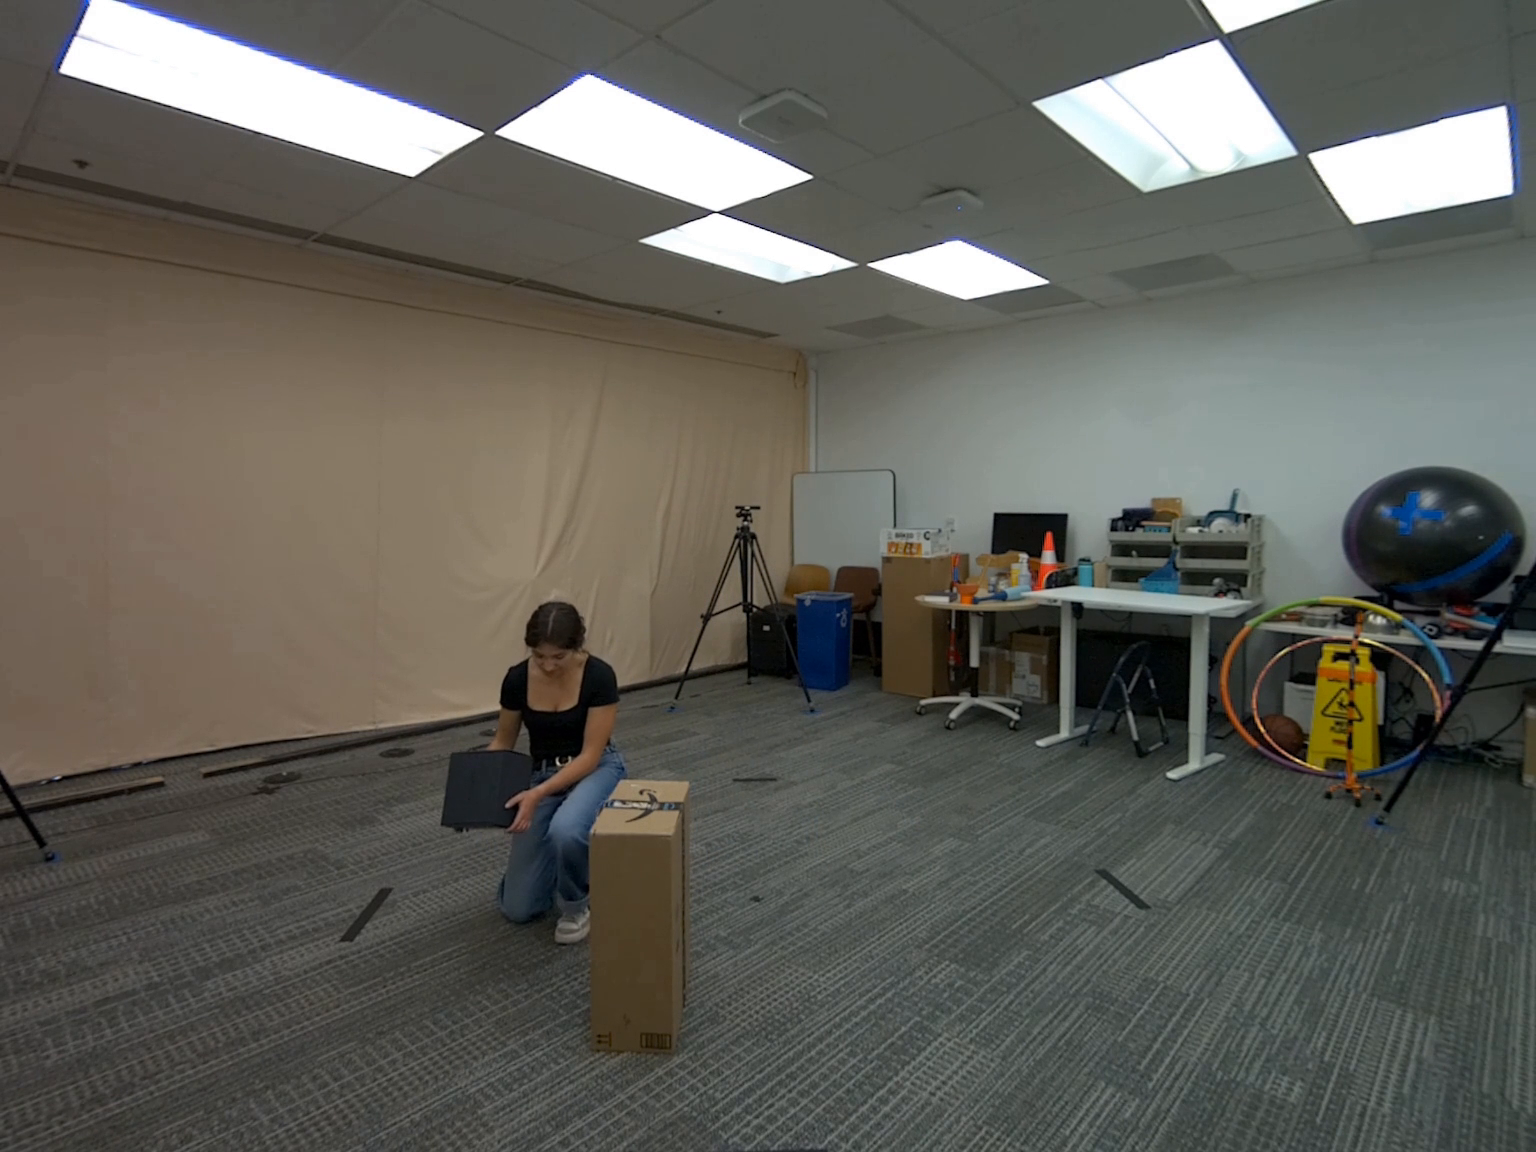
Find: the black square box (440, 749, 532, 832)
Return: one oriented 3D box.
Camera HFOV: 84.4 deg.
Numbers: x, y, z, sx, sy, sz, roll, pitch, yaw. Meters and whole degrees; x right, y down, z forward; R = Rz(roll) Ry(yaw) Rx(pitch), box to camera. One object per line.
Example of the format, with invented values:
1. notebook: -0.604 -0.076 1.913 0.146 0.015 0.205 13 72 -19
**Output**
1. black square box: -0.889 0.681 2.690 0.222 0.230 0.151 -7 -21 23
